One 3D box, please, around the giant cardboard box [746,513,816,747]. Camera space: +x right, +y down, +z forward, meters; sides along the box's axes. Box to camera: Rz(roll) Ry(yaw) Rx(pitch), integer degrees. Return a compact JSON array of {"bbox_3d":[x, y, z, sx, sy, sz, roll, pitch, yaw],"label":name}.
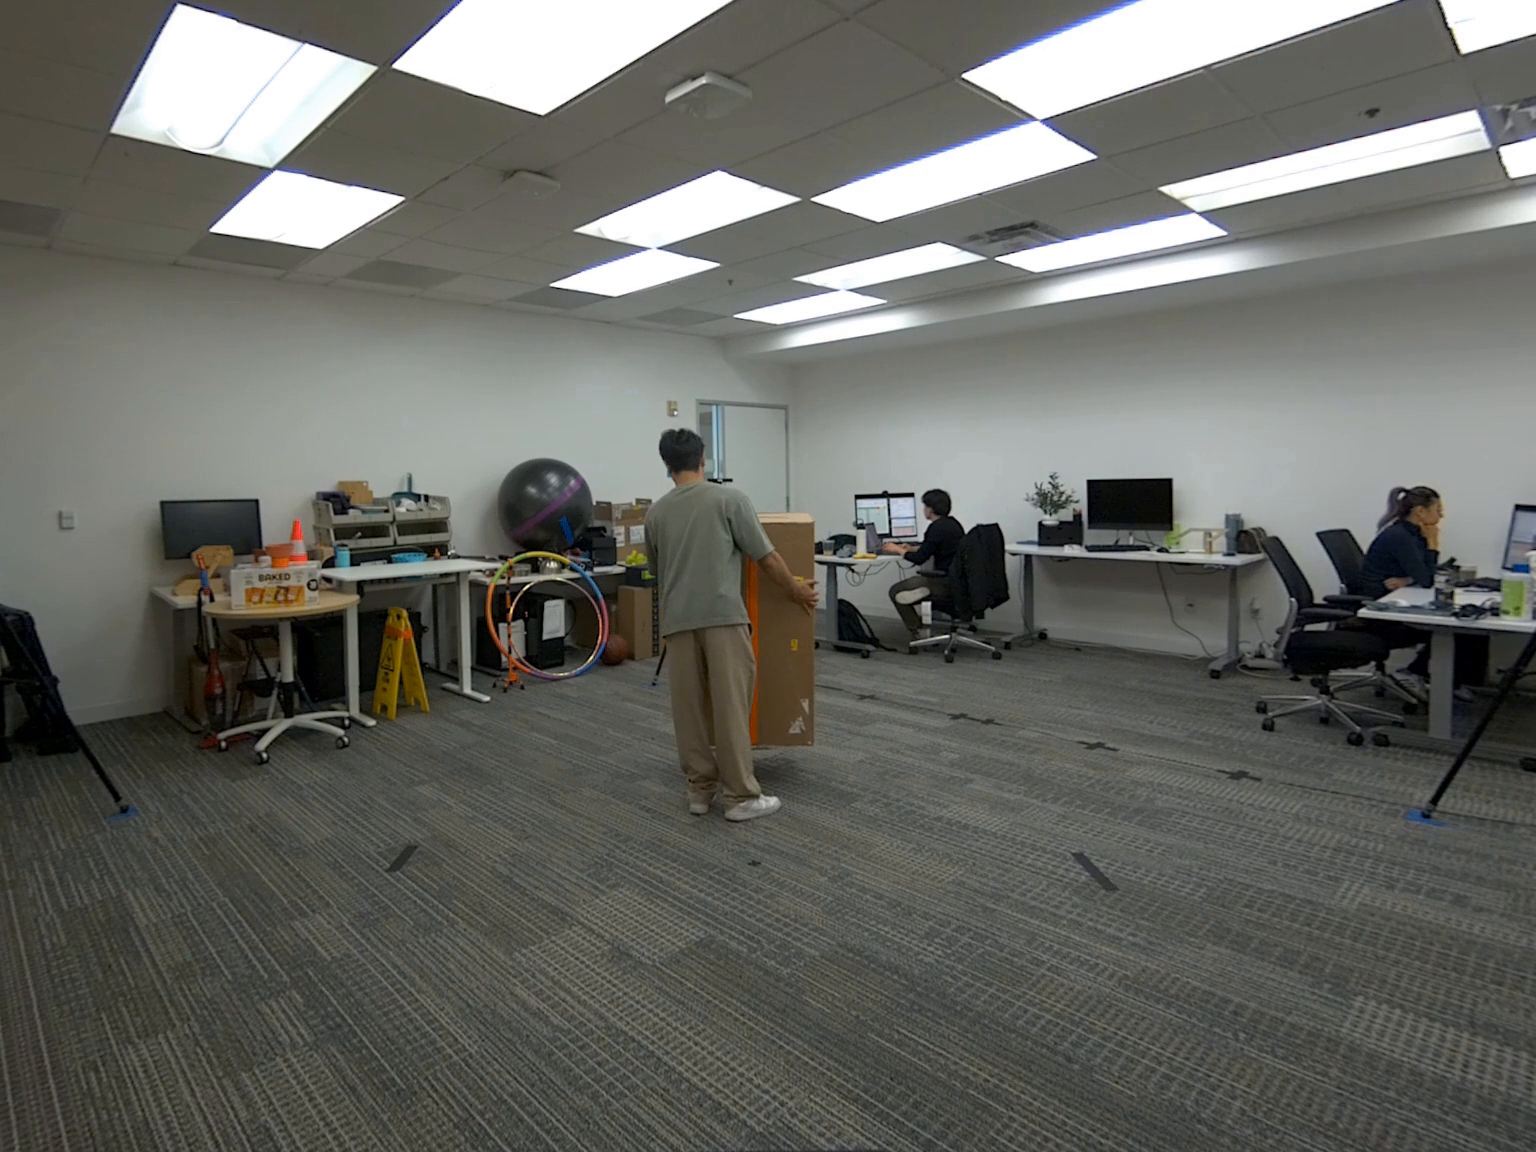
[{"bbox_3d":[-0.082,0.238,4.024,0.578,1.019,0.429,0,7,0],"label":"giant cardboard box"}]
